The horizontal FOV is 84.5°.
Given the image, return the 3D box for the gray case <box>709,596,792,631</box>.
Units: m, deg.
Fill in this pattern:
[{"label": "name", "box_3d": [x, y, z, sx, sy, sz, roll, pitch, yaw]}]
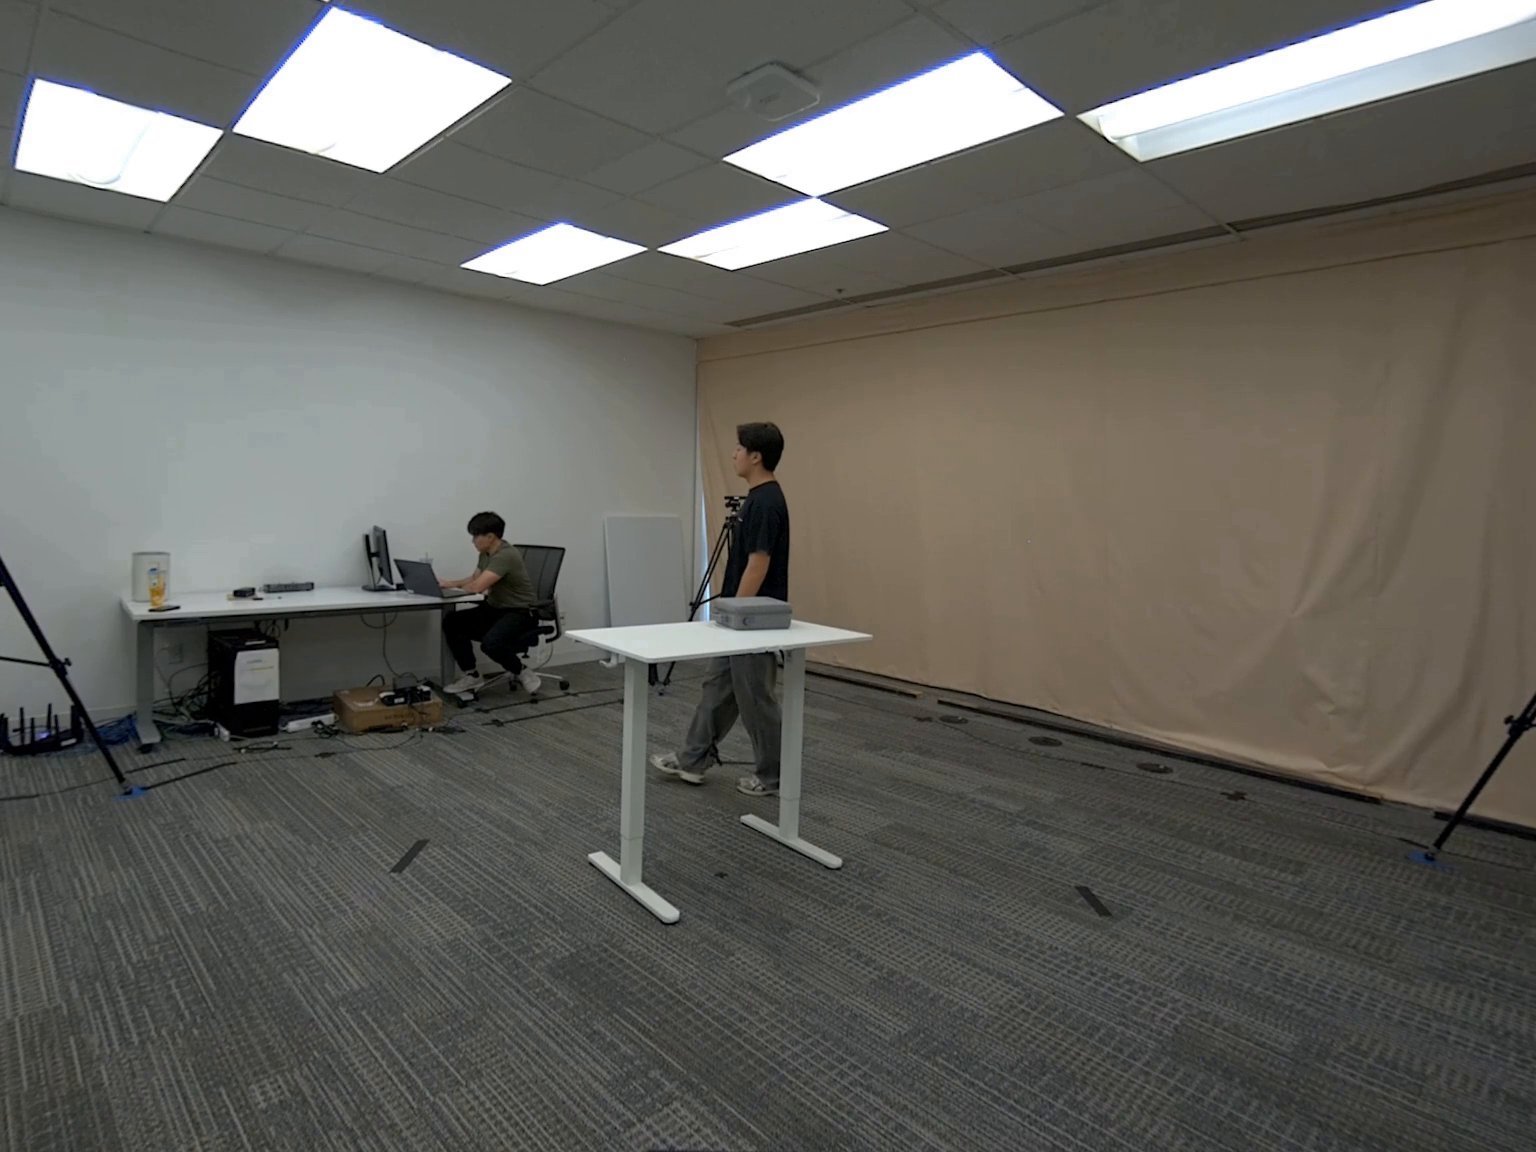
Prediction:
[{"label": "gray case", "box_3d": [-0.082, 0.150, 3.372, 0.282, 0.103, 0.268, -1, 6, -22]}]
